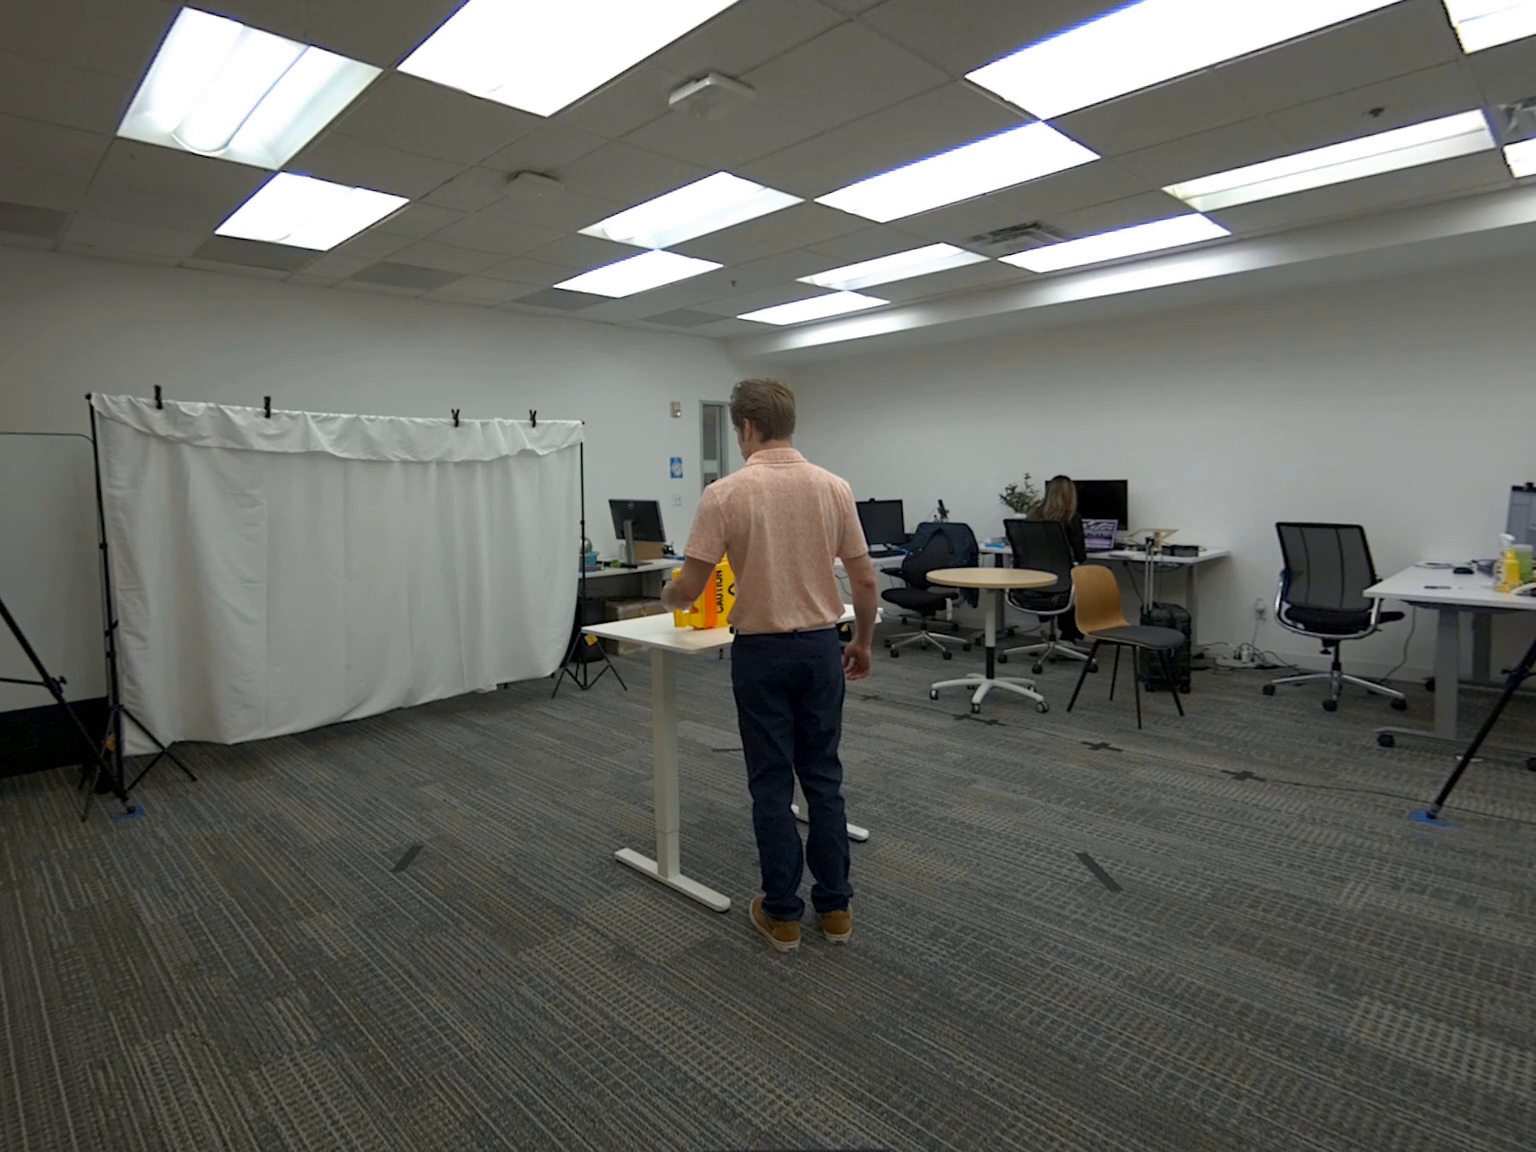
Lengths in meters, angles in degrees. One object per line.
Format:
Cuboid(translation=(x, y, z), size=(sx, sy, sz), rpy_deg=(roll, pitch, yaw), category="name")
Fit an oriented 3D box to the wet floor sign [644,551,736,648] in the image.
Cuboid(translation=(-0.103, 0.040, 3.106), size=(0.299, 0.280, 0.630), rpy_deg=(4, 10, 42), category="wet floor sign")
